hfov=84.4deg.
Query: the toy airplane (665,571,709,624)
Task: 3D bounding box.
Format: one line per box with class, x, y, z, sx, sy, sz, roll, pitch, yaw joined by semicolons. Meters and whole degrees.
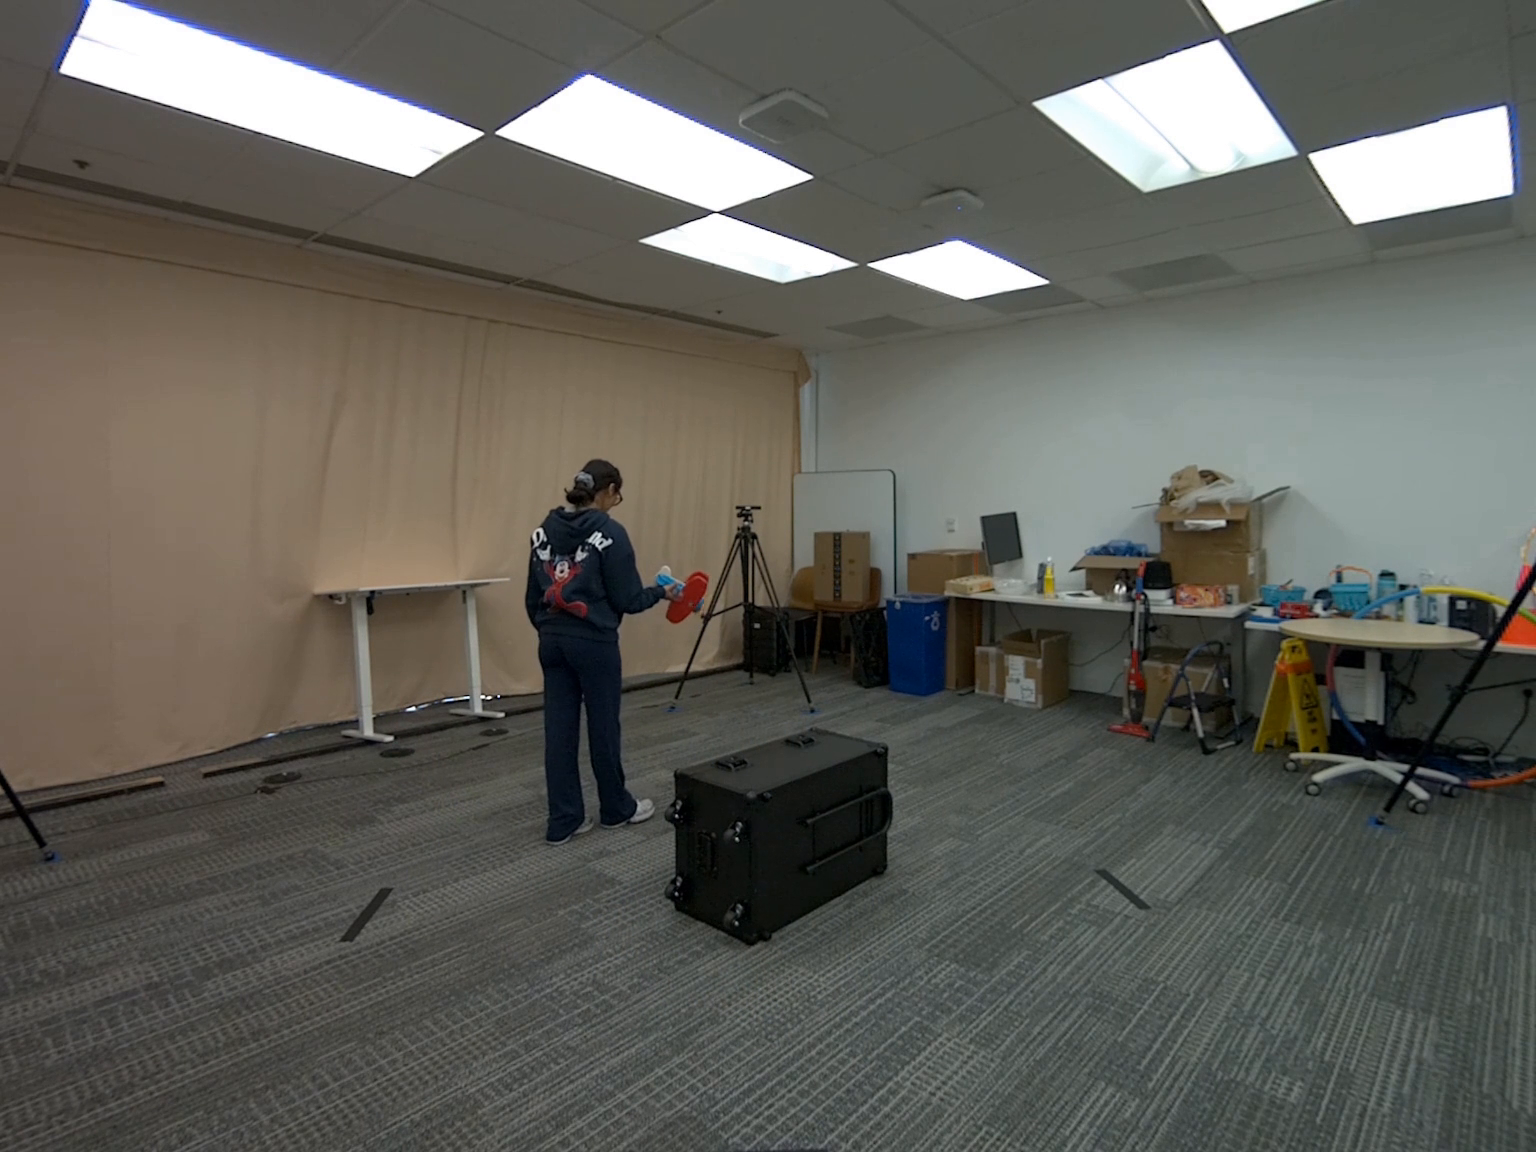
toy airplane;-0.391;0.085;3.803;0.256;0.249;0.160;5;24;-12
